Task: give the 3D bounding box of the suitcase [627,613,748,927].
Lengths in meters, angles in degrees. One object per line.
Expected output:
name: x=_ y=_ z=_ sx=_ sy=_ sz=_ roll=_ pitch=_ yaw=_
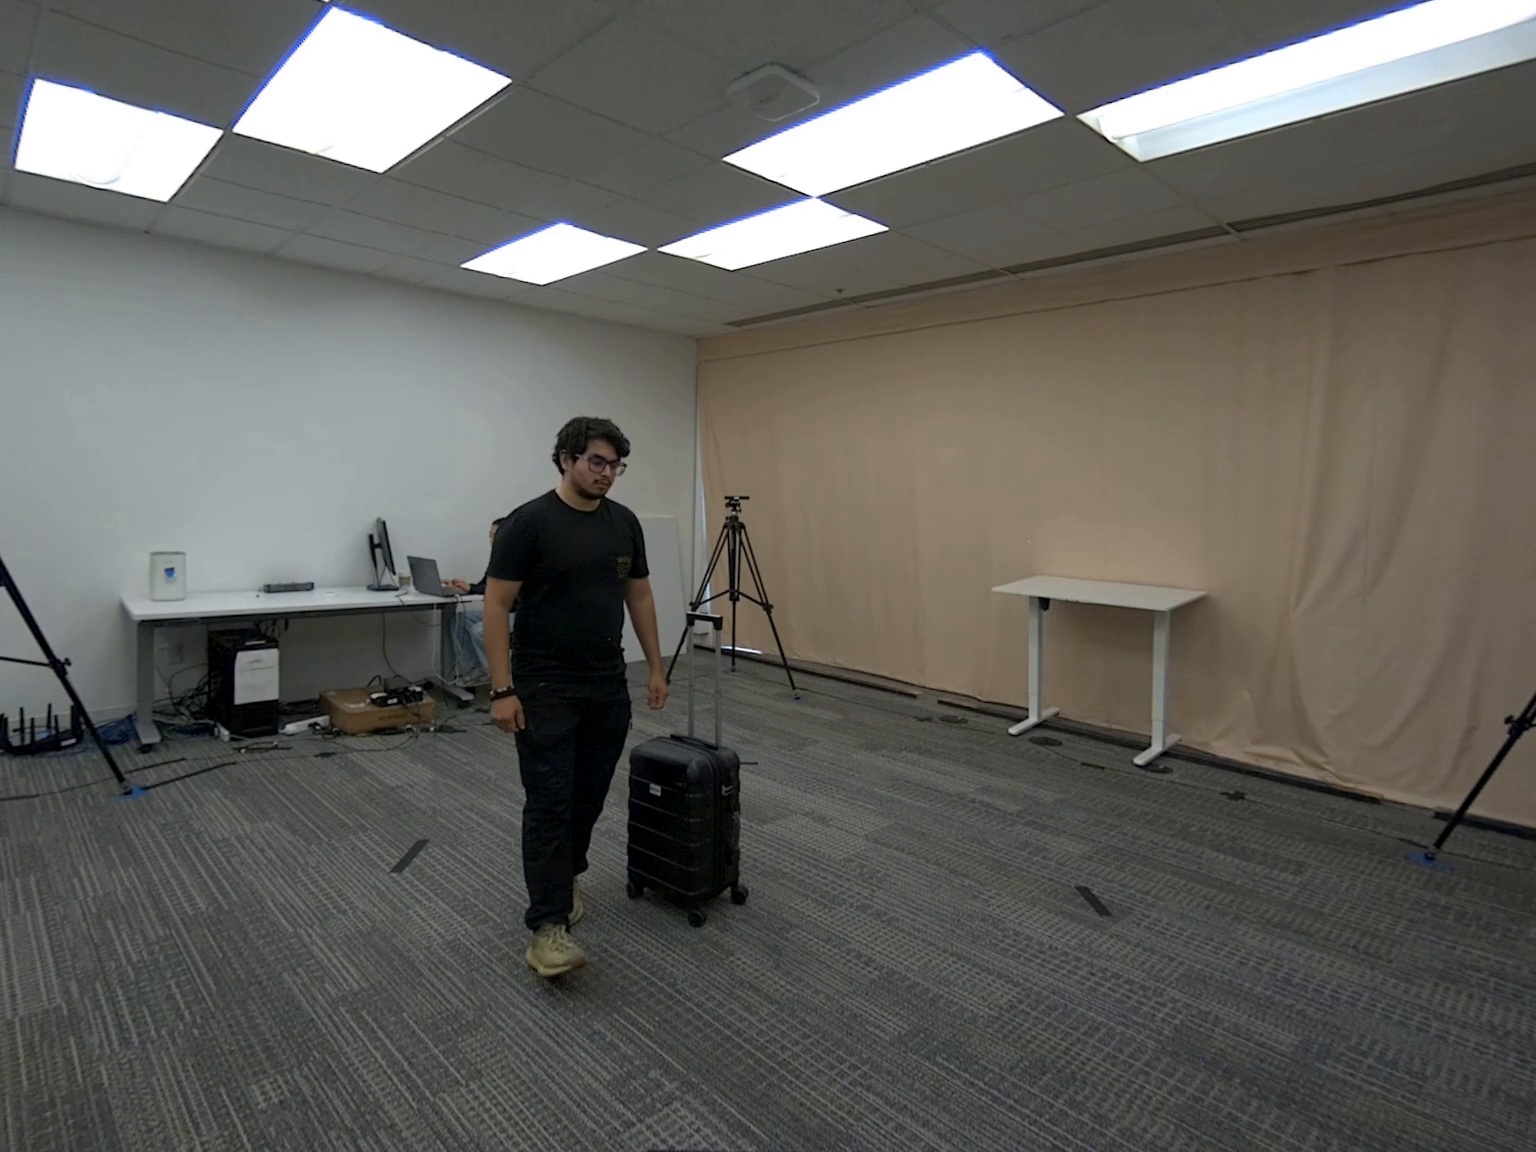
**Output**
suitcase: x=-0.292 y=0.641 z=2.890 sx=0.393 sy=0.976 sz=0.252 roll=2 pitch=5 yaw=37
